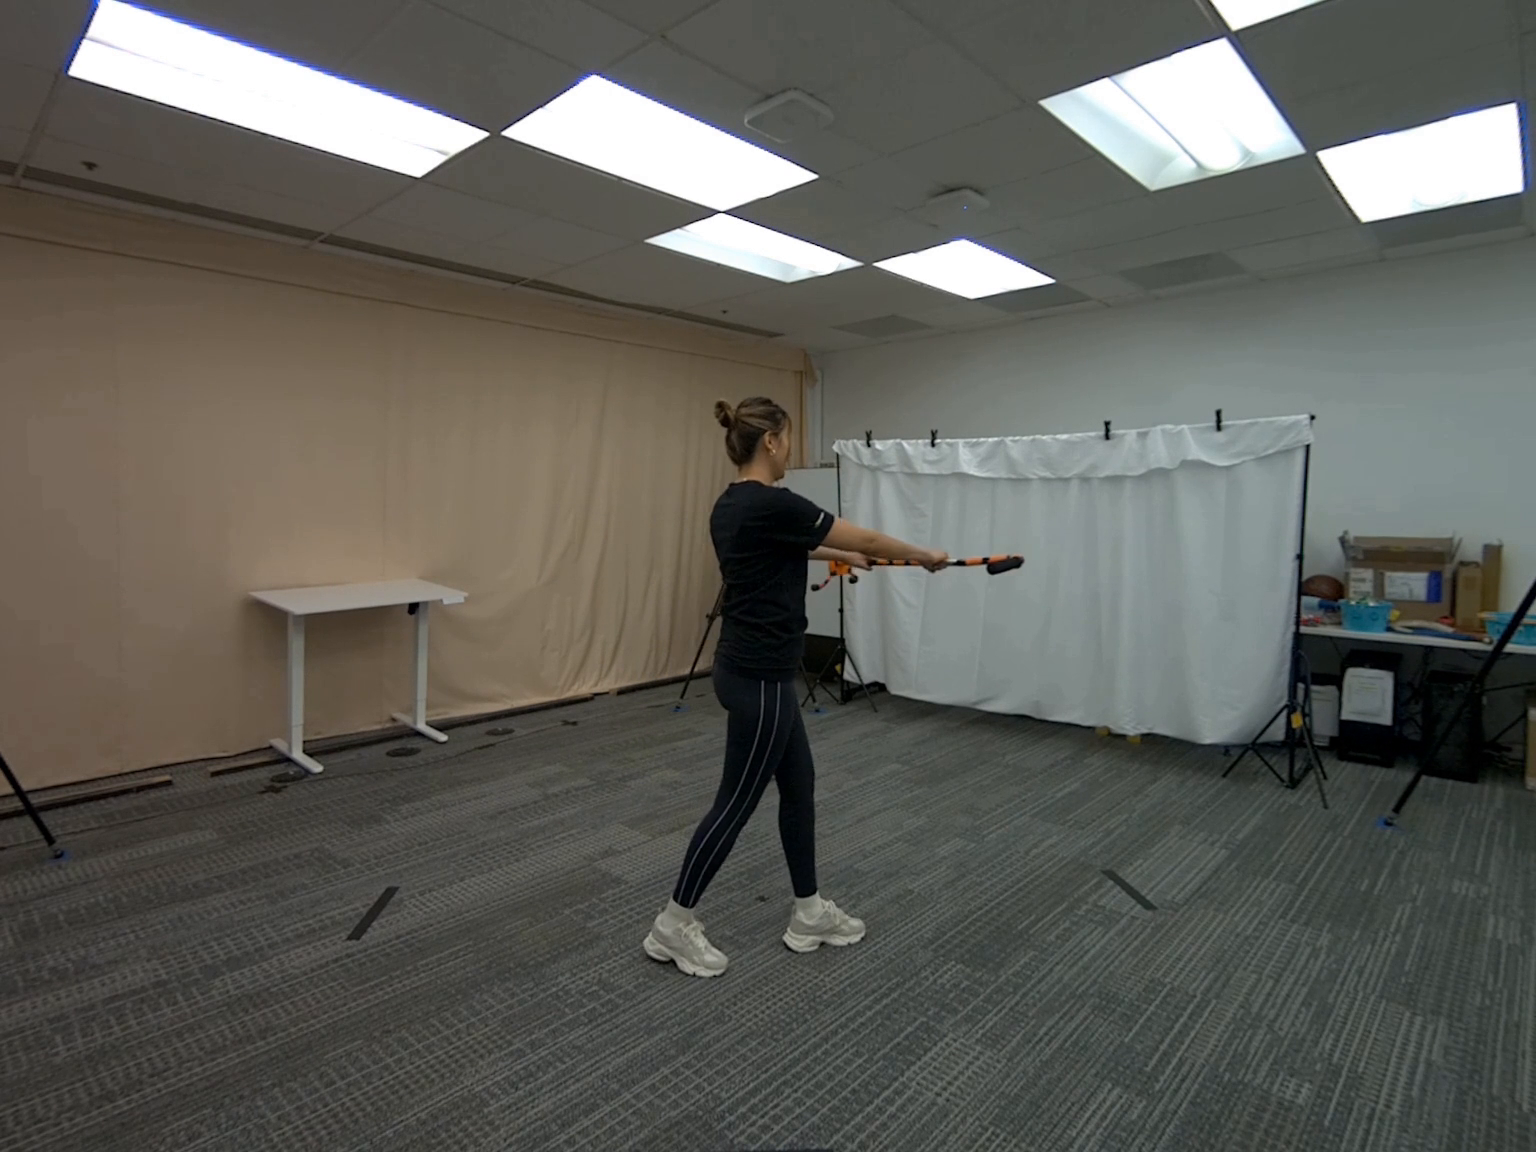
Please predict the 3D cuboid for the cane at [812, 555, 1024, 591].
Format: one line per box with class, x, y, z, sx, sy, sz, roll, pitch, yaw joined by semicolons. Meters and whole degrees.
cane;0.469;-0.026;2.781;0.201;0.151;0.933;-8;4;-31
